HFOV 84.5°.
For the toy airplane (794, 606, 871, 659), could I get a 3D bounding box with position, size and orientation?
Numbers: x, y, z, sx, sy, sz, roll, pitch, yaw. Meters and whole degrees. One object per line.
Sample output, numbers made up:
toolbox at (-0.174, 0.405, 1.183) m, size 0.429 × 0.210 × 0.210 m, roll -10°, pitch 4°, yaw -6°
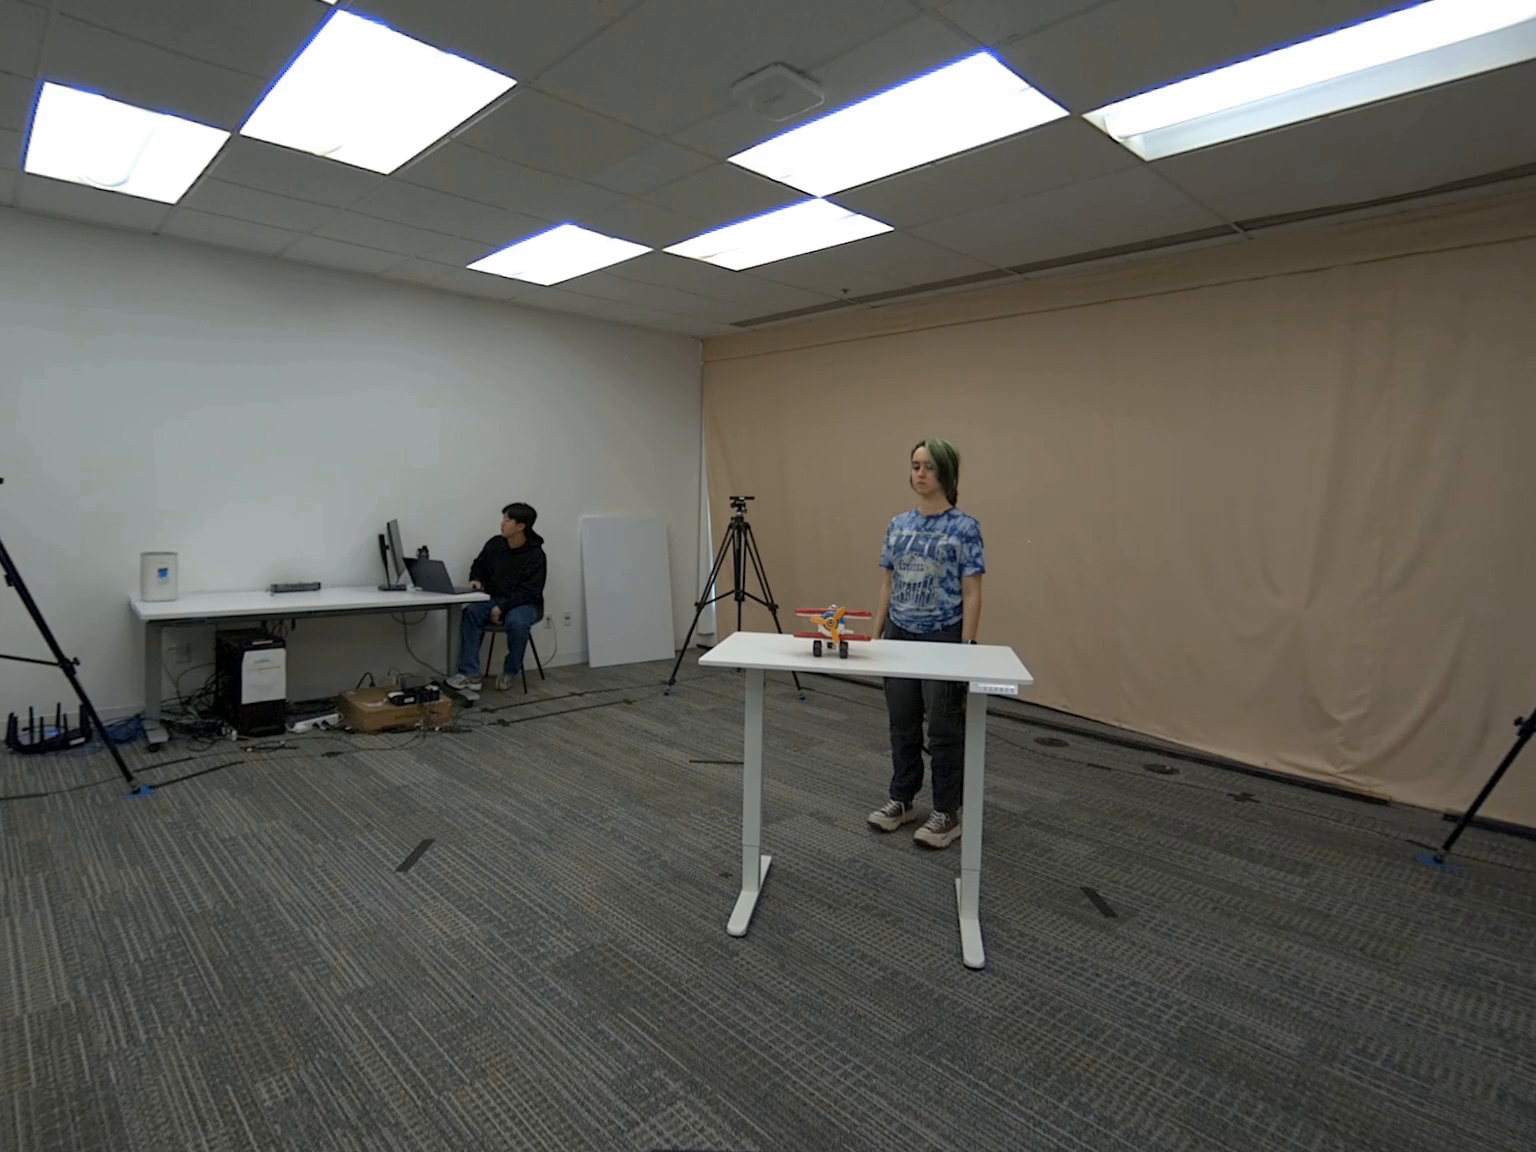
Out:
toy airplane at (0.193, 0.182, 2.809) m, size 0.247 × 0.156 × 0.264 m, roll -1°, pitch 5°, yaw -19°
